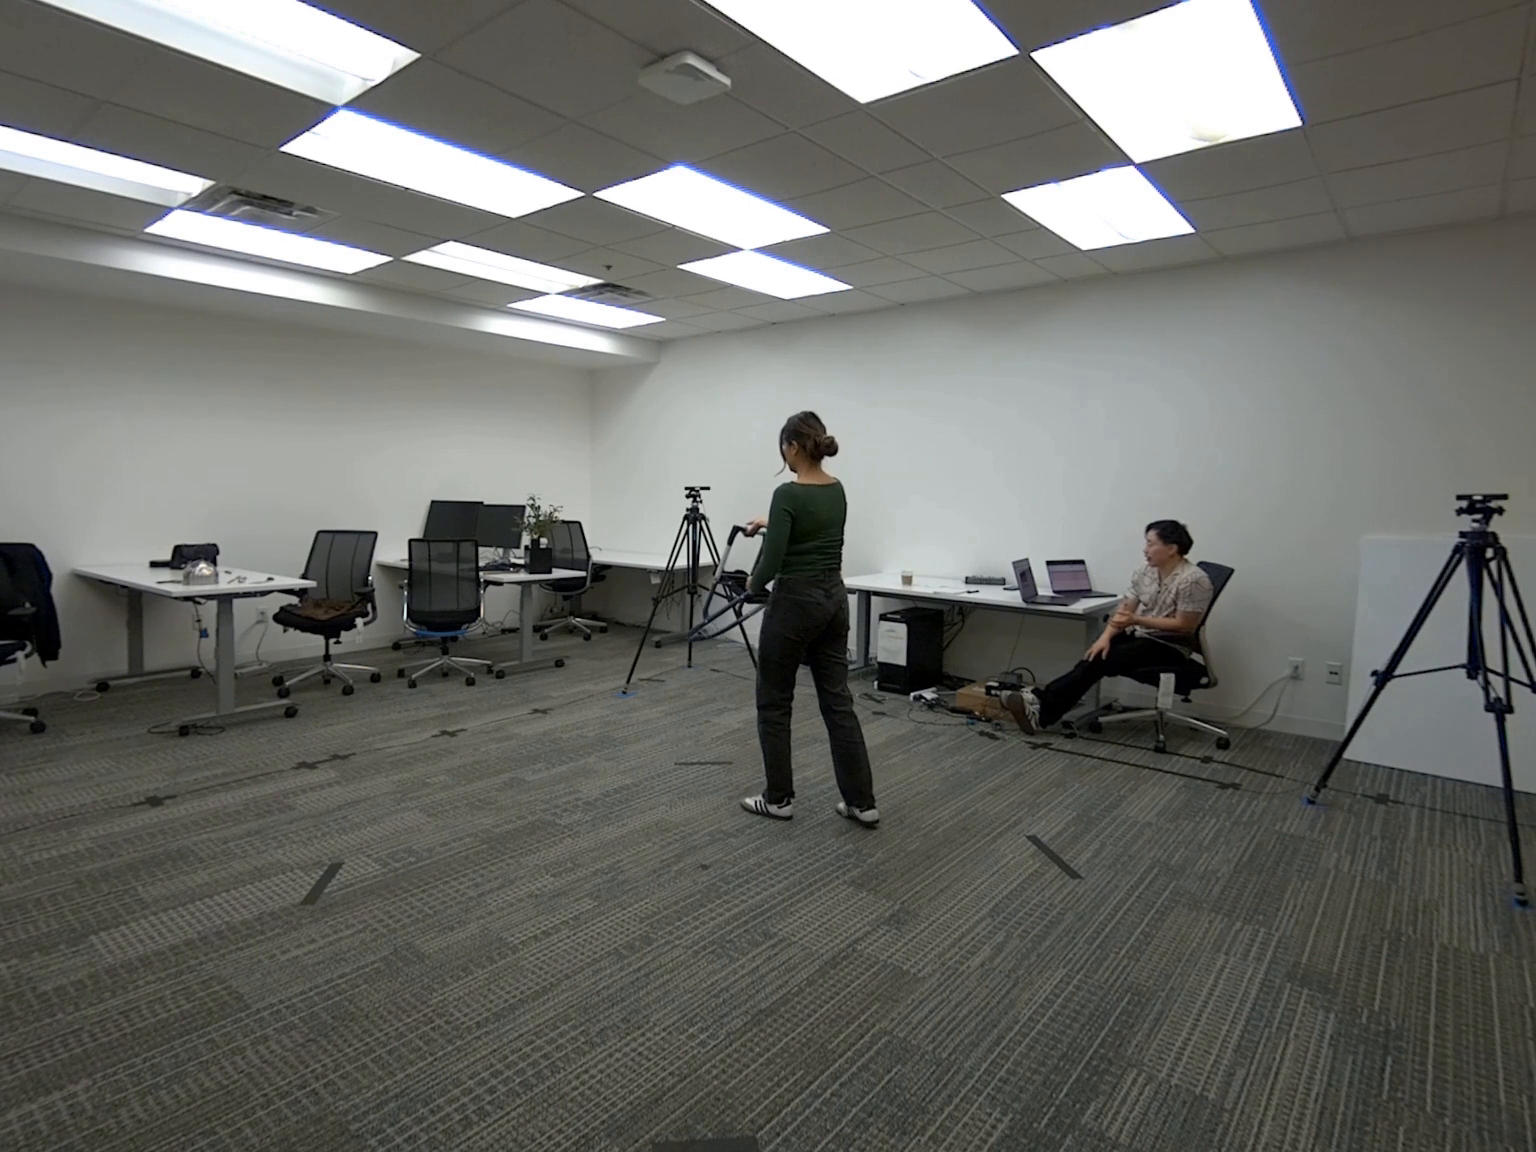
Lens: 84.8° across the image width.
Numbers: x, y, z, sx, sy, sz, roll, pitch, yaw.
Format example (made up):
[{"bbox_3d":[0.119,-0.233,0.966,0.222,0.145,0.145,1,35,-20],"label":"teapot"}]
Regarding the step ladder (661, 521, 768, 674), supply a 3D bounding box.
[{"bbox_3d":[-0.122,0.106,4.039,0.360,0.605,0.418,39,11,22],"label":"step ladder"}]
